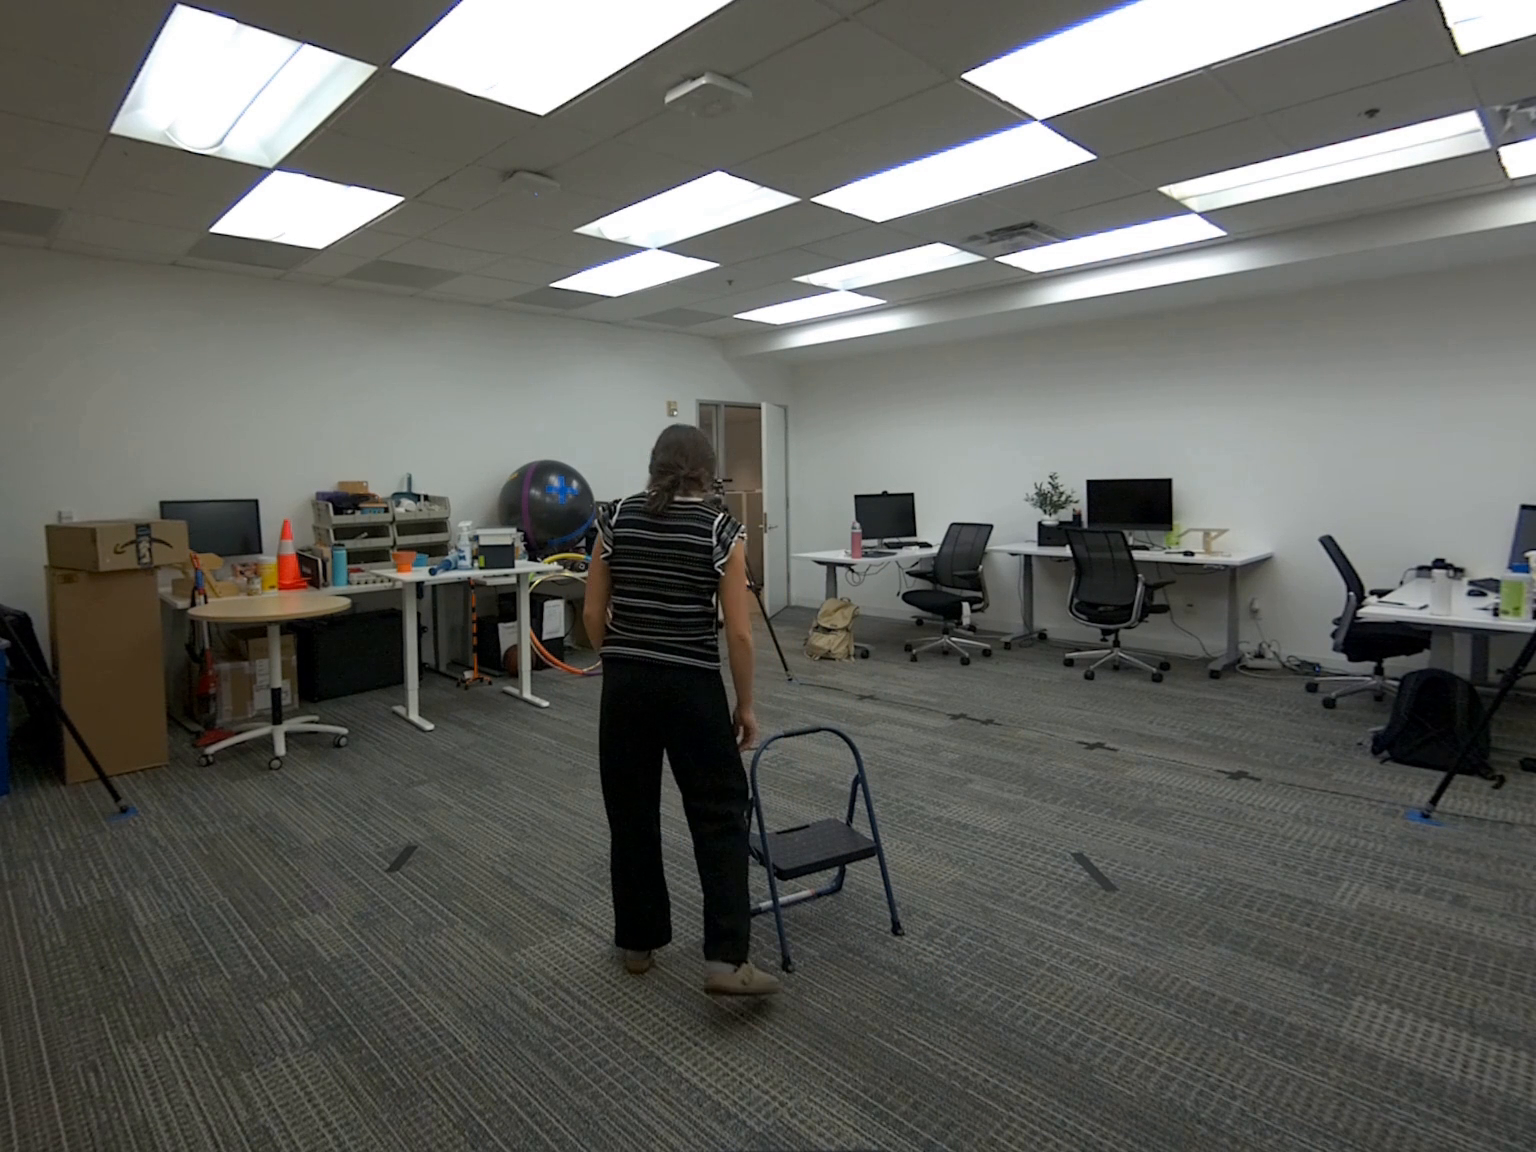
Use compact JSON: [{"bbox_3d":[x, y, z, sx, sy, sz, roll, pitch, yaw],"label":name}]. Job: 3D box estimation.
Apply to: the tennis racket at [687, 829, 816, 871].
[{"bbox_3d":[-0.063,1.017,3.236,0.443,0.031,0.209,1,6,27],"label":"tennis racket"}]
